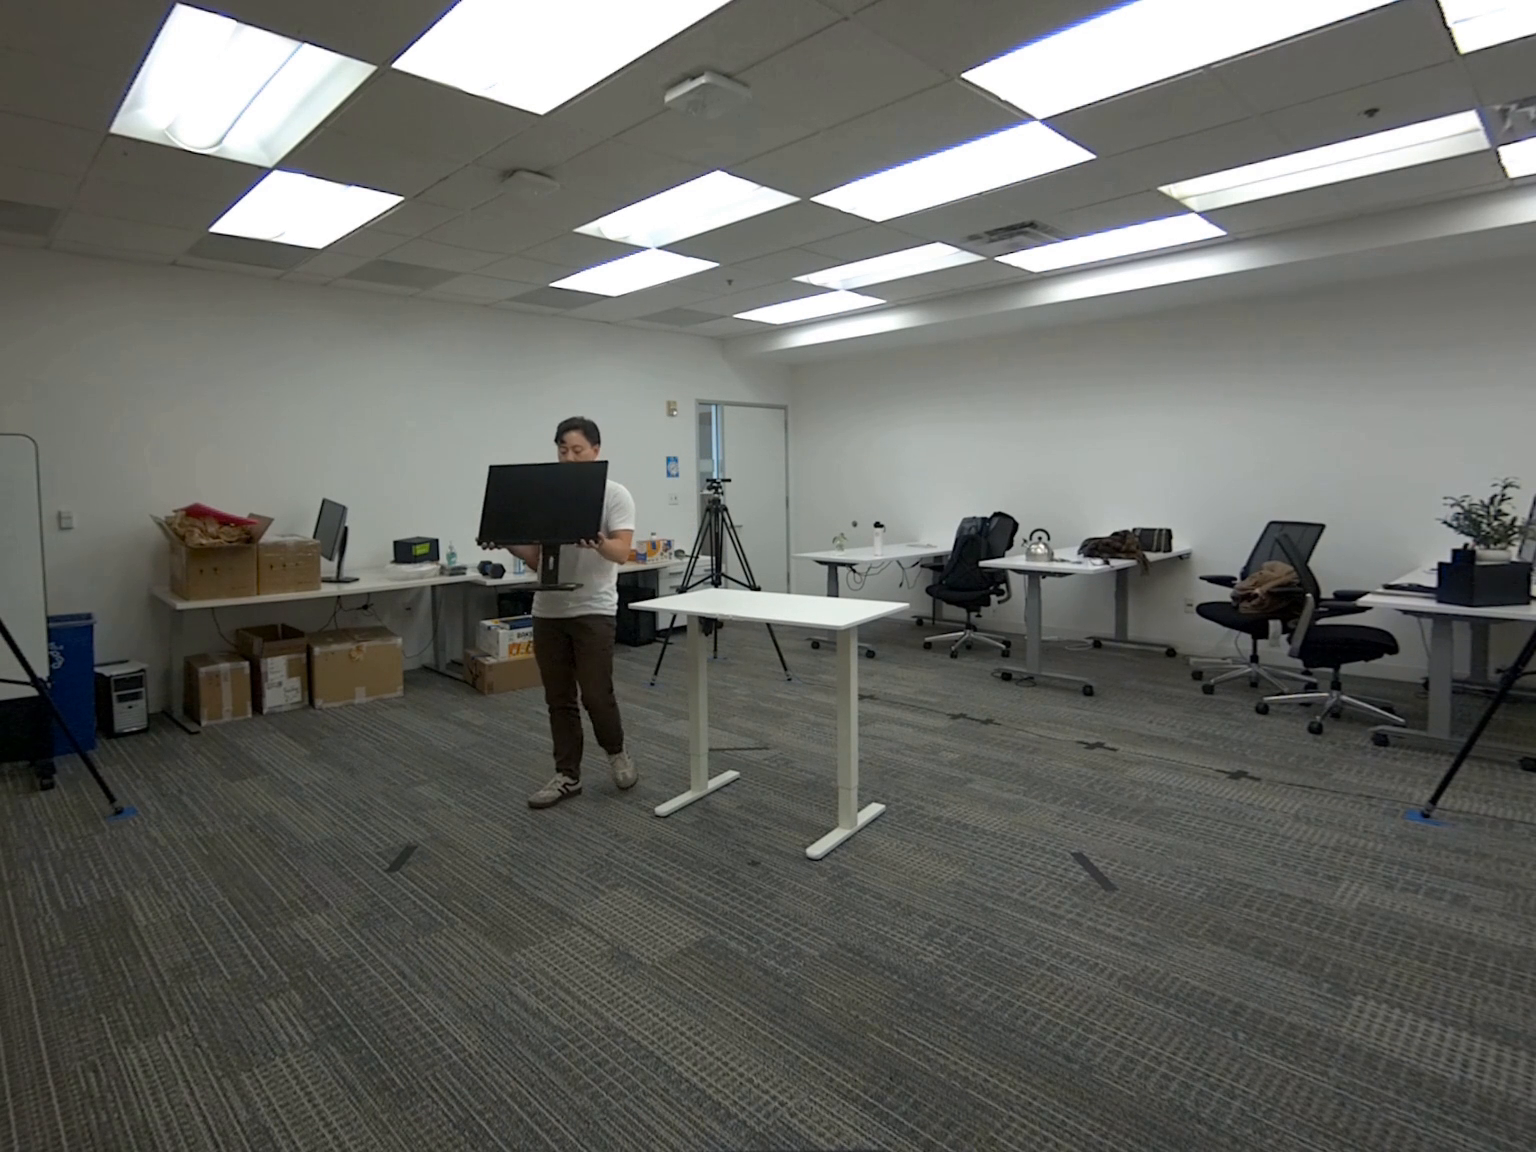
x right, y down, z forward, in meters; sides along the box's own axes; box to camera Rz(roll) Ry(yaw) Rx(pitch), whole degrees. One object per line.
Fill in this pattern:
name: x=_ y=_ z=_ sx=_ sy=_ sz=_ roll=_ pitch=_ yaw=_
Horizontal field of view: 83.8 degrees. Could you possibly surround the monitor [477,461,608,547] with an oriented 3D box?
monitor: x=-0.908 y=-0.203 z=3.505 sx=0.546 sy=0.523 sz=0.184 roll=-1 pitch=-2 yaw=13
